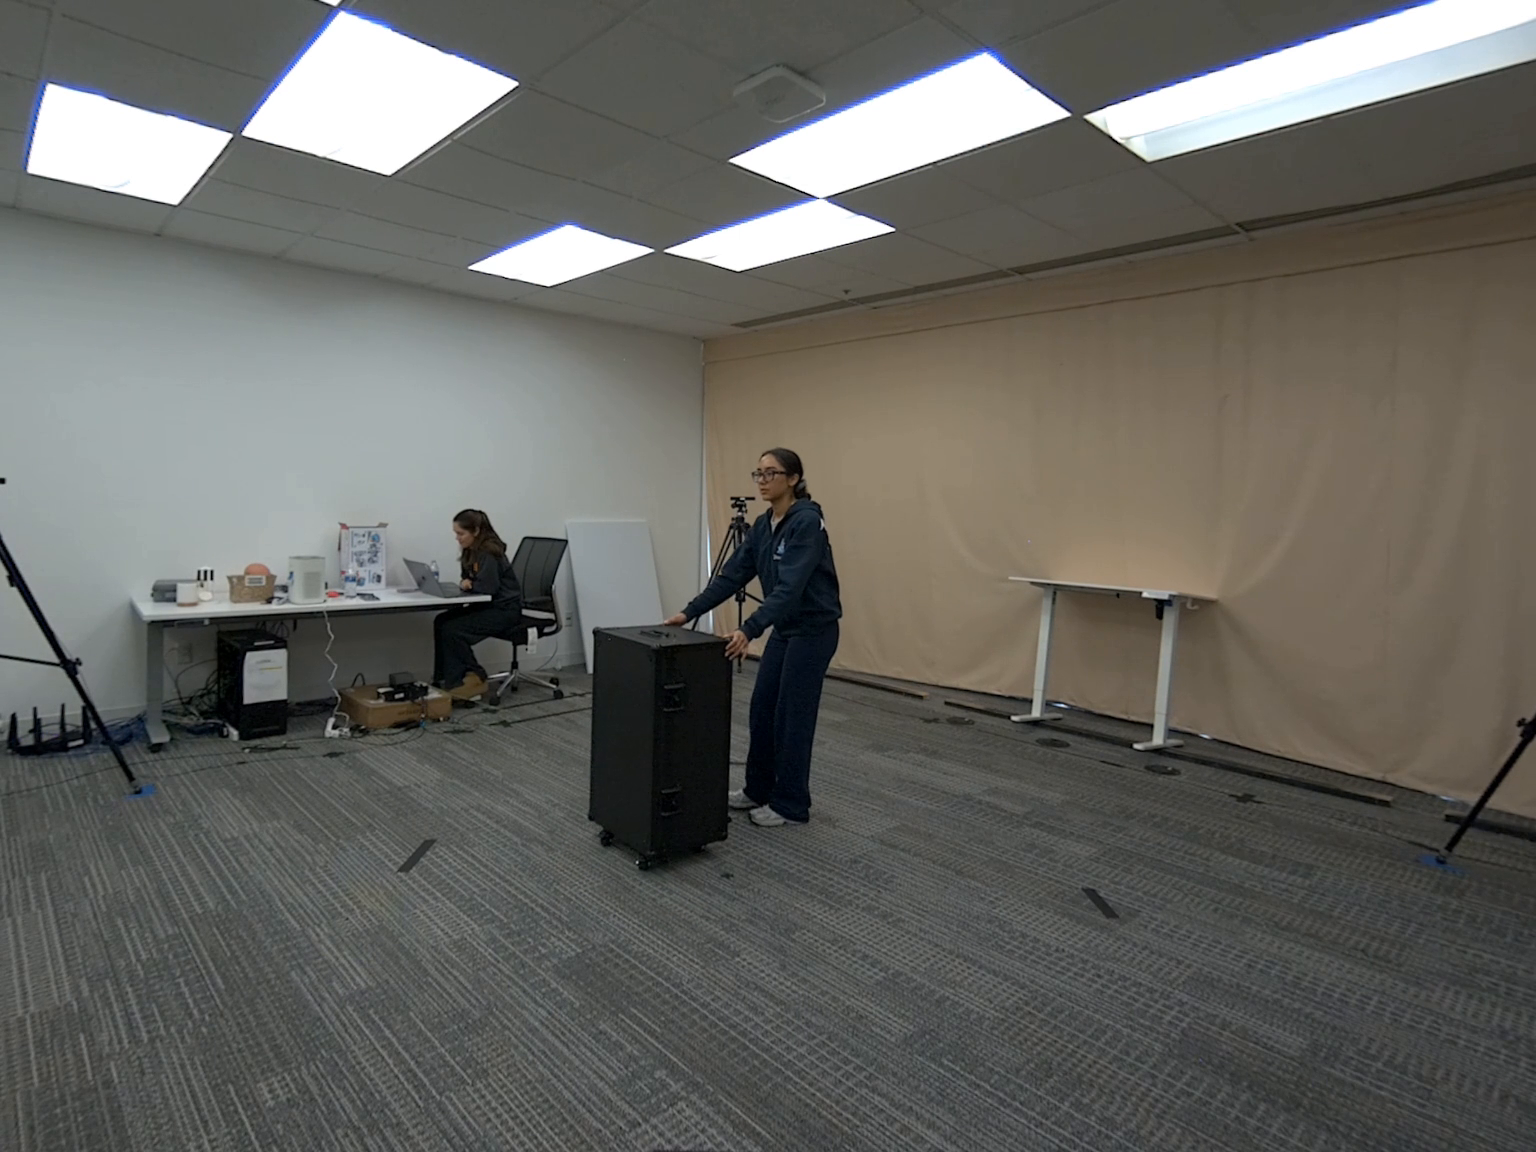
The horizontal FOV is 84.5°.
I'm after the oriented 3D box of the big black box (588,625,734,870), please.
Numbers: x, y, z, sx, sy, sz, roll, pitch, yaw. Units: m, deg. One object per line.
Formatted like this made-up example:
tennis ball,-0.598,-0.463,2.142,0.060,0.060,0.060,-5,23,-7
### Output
big black box,-0.438,0.658,3.343,0.387,0.860,0.534,0,3,-39
